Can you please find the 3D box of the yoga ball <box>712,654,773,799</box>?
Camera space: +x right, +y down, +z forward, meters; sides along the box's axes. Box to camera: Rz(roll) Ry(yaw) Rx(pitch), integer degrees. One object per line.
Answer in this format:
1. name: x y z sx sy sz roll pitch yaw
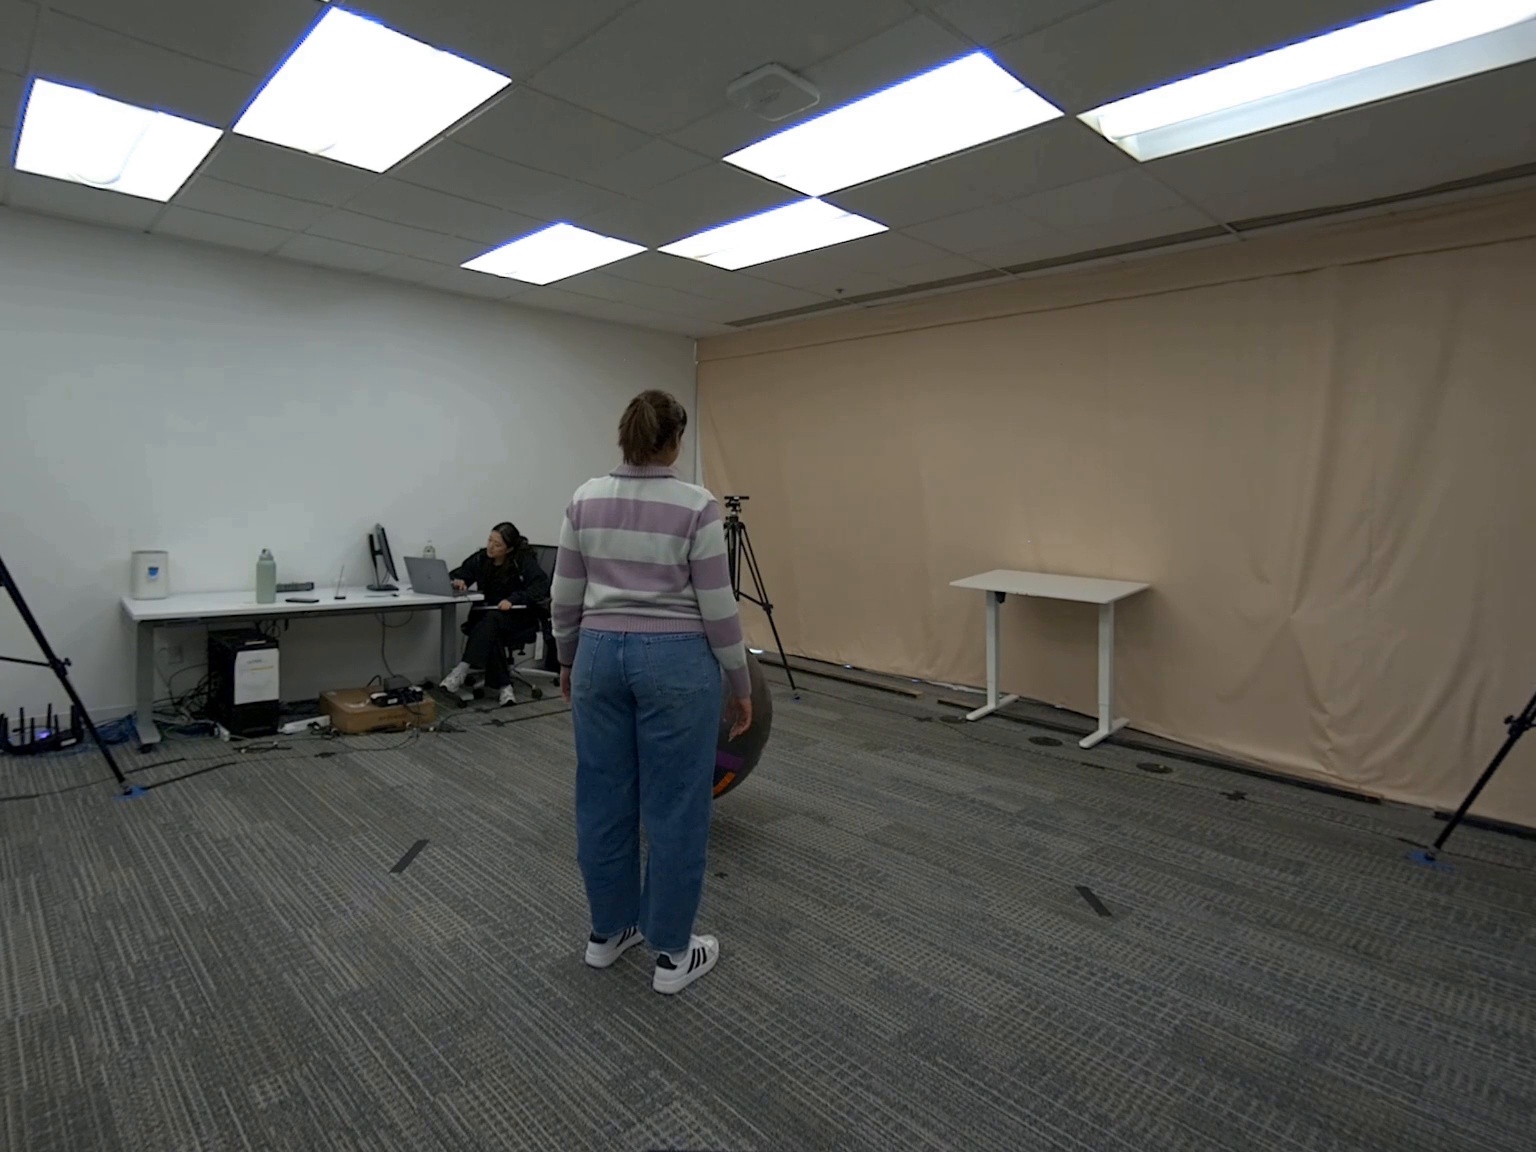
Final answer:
1. yoga ball: -0.362 0.562 3.458 0.757 0.756 0.761 1 4 -1
